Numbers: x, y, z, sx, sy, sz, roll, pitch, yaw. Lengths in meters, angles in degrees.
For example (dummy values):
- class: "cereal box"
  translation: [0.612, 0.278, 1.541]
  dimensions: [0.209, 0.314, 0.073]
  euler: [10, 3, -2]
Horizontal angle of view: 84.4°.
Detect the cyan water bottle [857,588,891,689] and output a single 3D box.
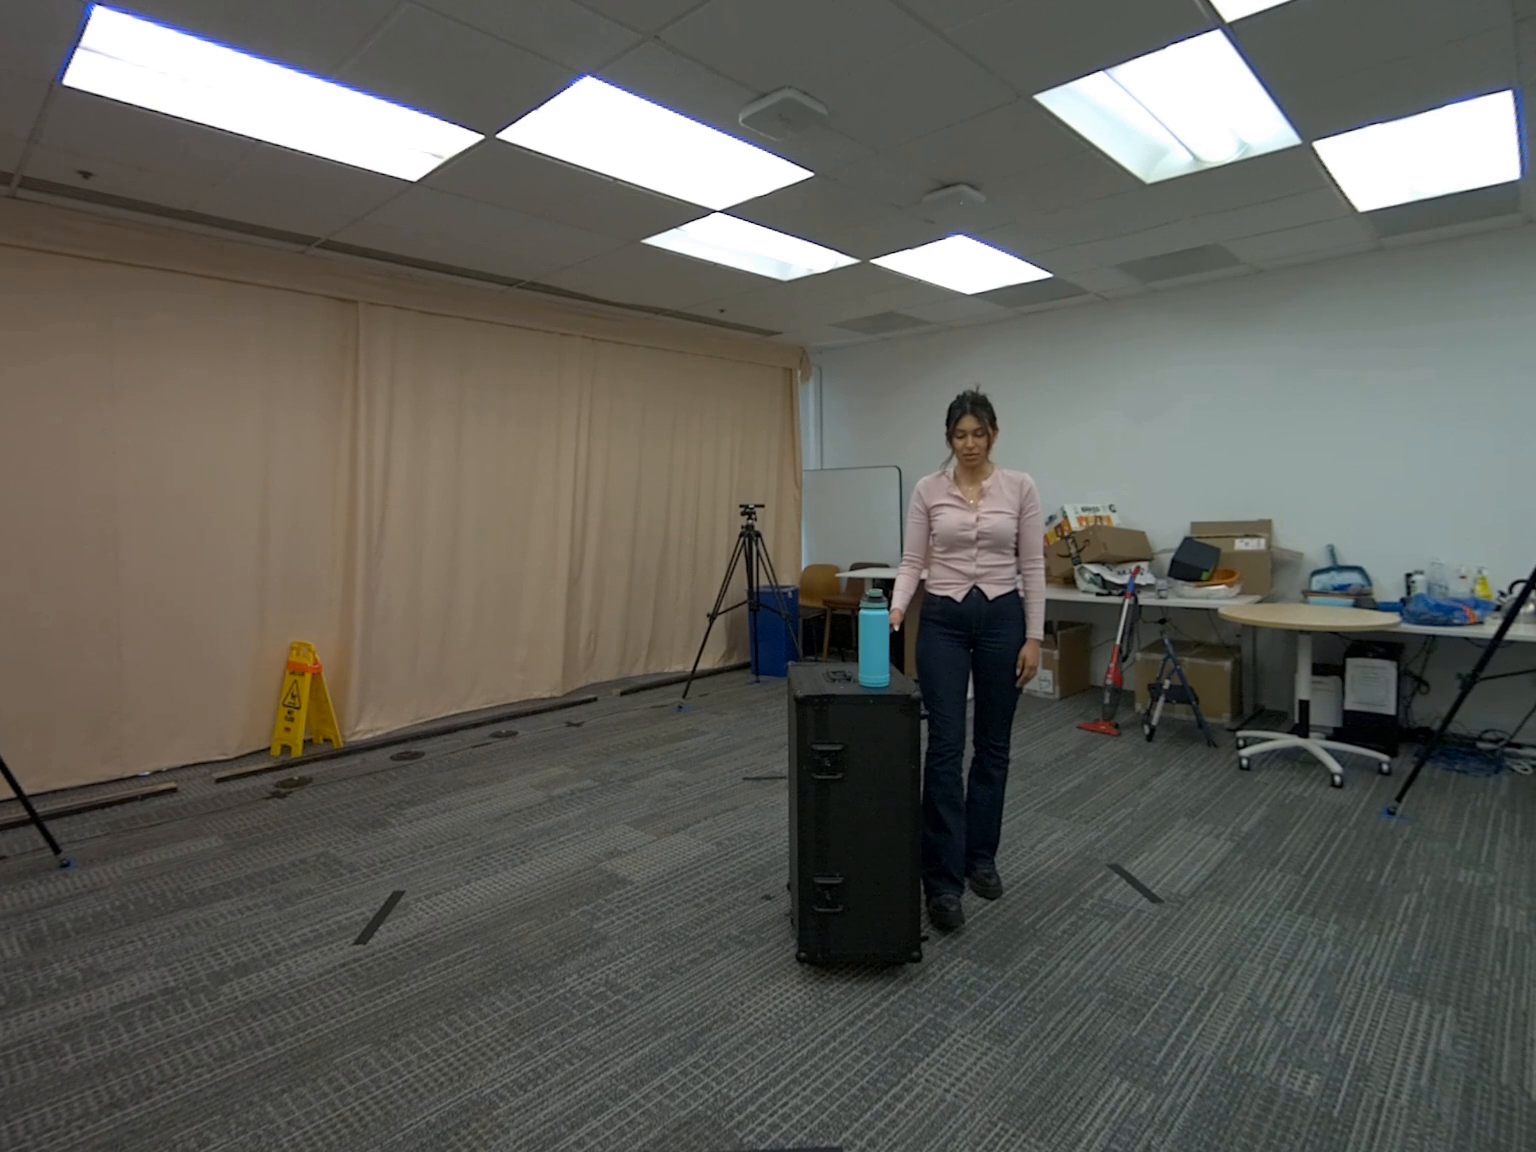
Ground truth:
- class: "cyan water bottle"
  translation: [0.320, 0.184, 2.506]
  dimensions: [0.092, 0.283, 0.092]
  euler: [-5, 1, -2]
